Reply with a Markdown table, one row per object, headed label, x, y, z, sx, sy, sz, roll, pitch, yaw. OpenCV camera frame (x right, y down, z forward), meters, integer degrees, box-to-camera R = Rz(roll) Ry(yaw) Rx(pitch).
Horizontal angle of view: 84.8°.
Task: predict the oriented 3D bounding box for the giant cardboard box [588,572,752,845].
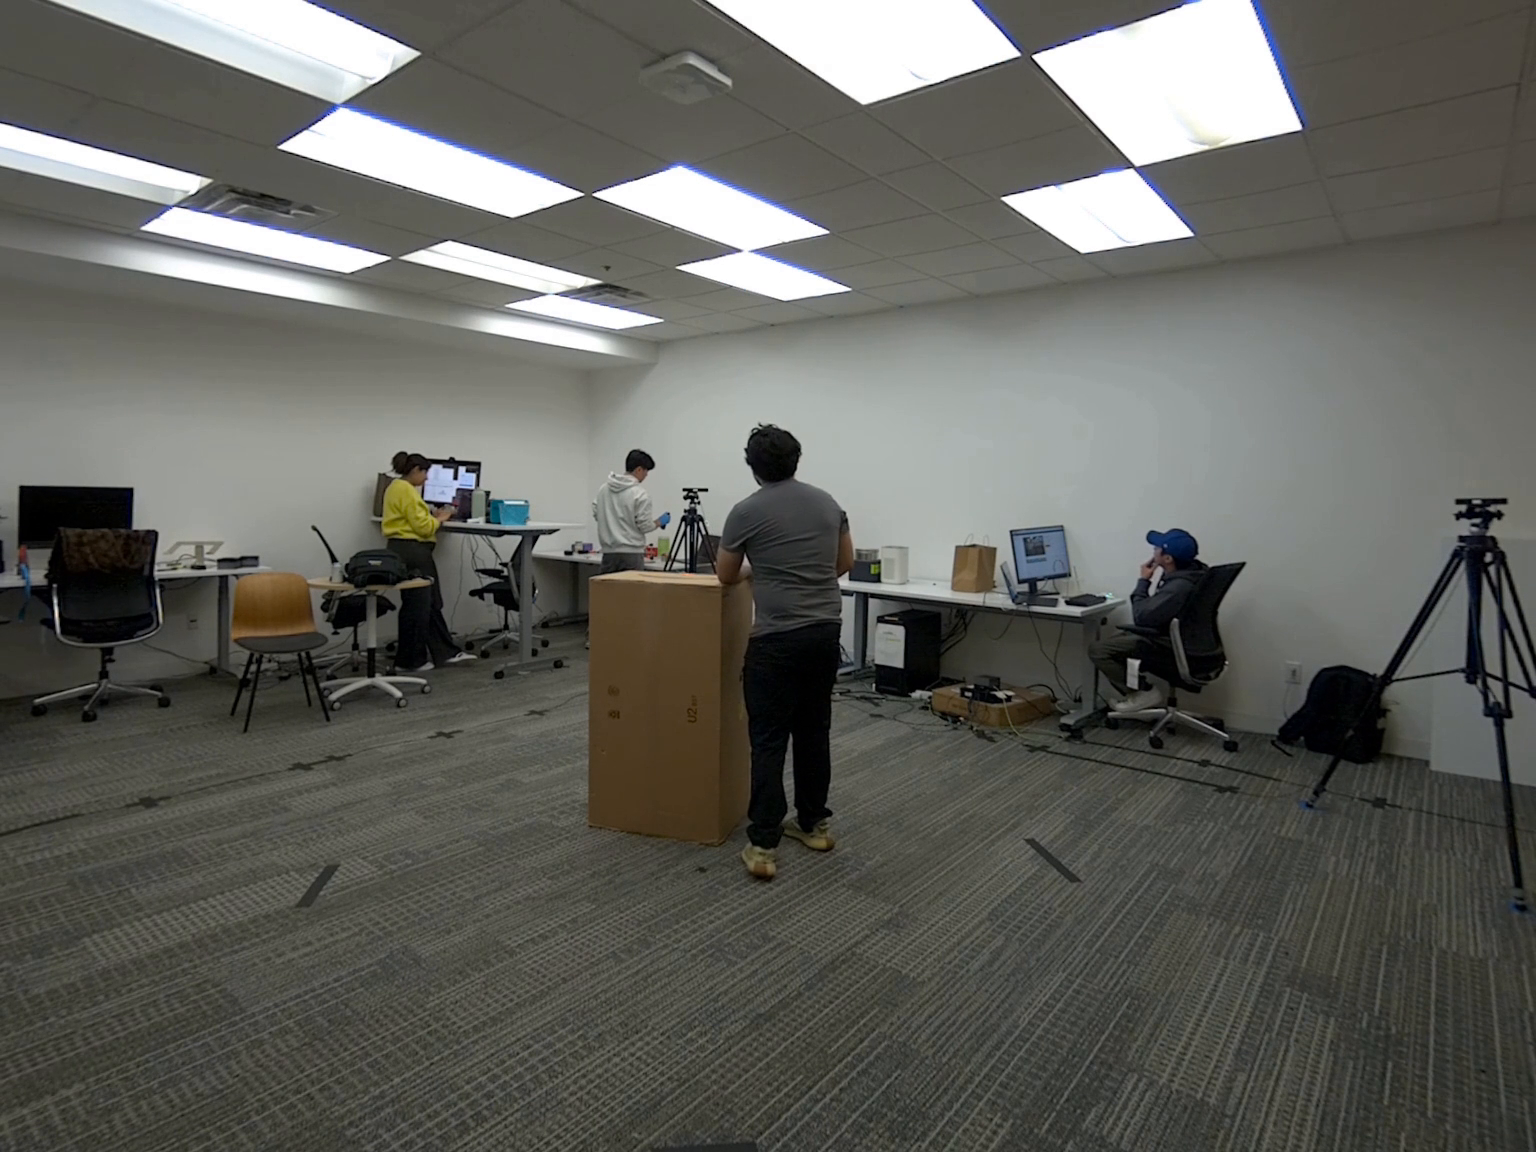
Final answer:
| label | x | y | z | sx | sy | sz | roll | pitch | yaw |
| --- | --- | --- | --- | --- | --- | --- | --- | --- | --- |
| giant cardboard box | -0.418 | 0.511 | 3.587 | 0.589 | 1.023 | 0.419 | 2 | 3 | 19 |
